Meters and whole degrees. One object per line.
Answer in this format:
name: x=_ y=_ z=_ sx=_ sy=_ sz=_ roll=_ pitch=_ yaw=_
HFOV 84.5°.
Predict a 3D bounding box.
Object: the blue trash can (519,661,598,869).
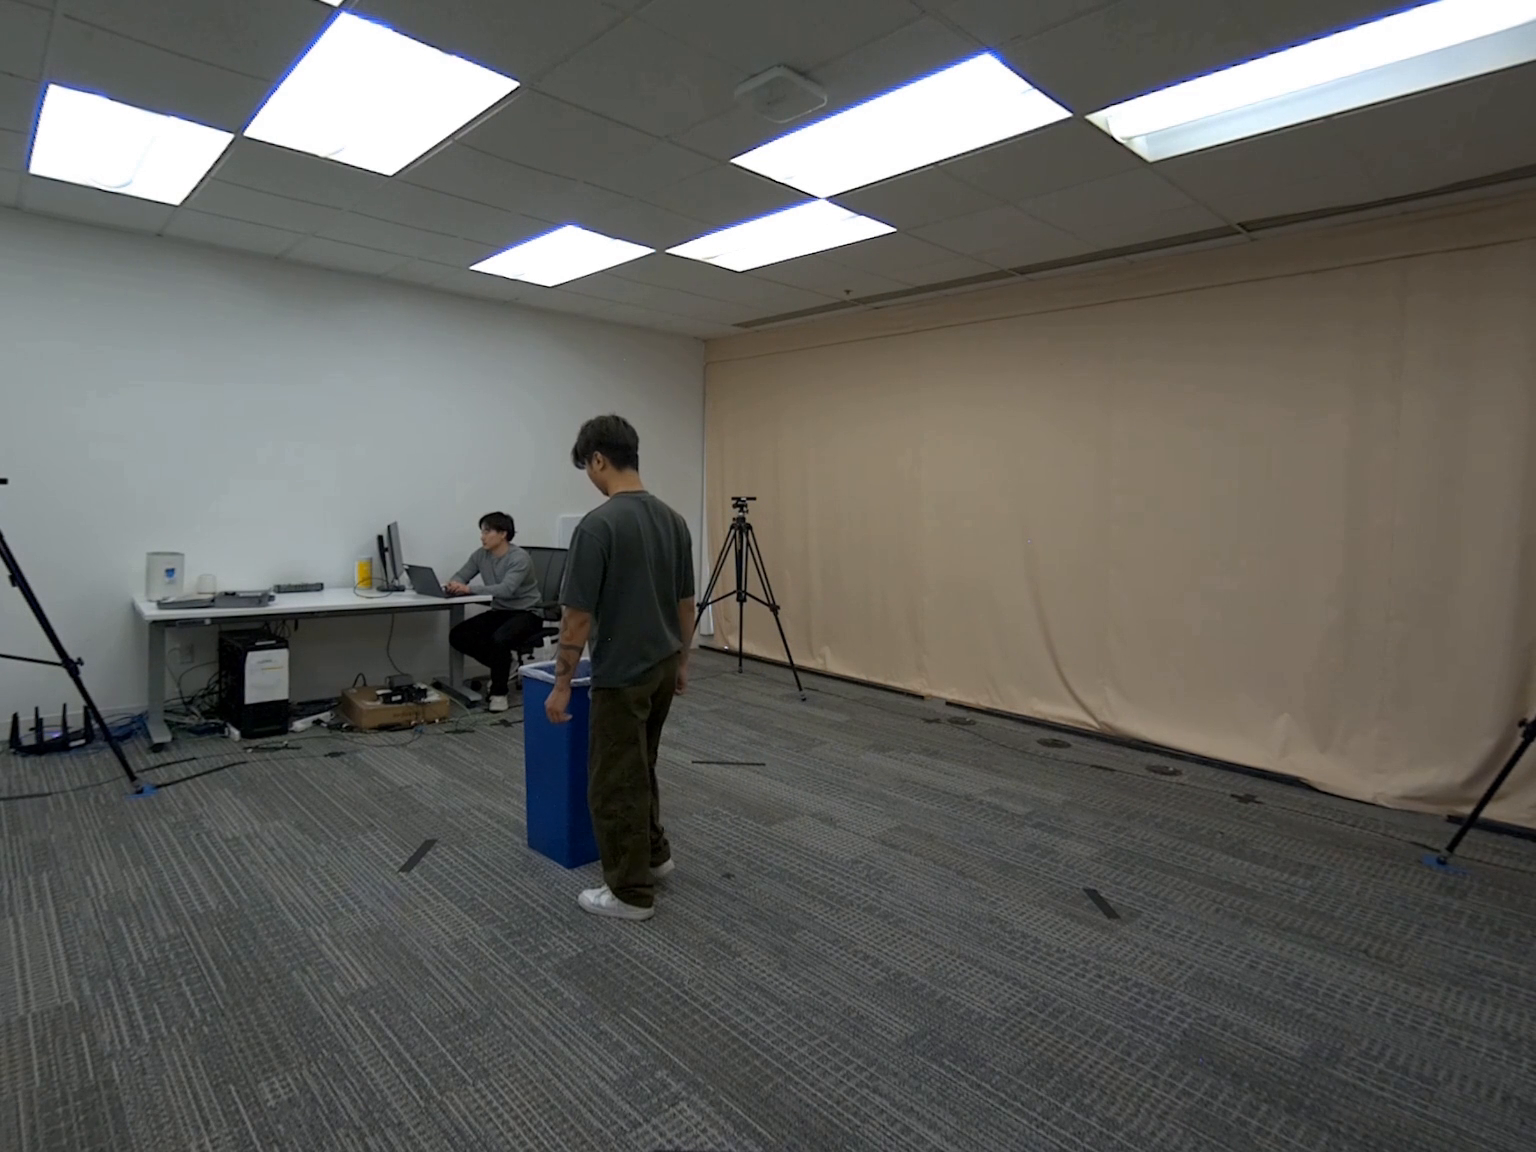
blue trash can: x=-0.749 y=0.717 z=3.314 sx=0.387 sy=0.713 sz=0.365 roll=3 pitch=3 yaw=43
